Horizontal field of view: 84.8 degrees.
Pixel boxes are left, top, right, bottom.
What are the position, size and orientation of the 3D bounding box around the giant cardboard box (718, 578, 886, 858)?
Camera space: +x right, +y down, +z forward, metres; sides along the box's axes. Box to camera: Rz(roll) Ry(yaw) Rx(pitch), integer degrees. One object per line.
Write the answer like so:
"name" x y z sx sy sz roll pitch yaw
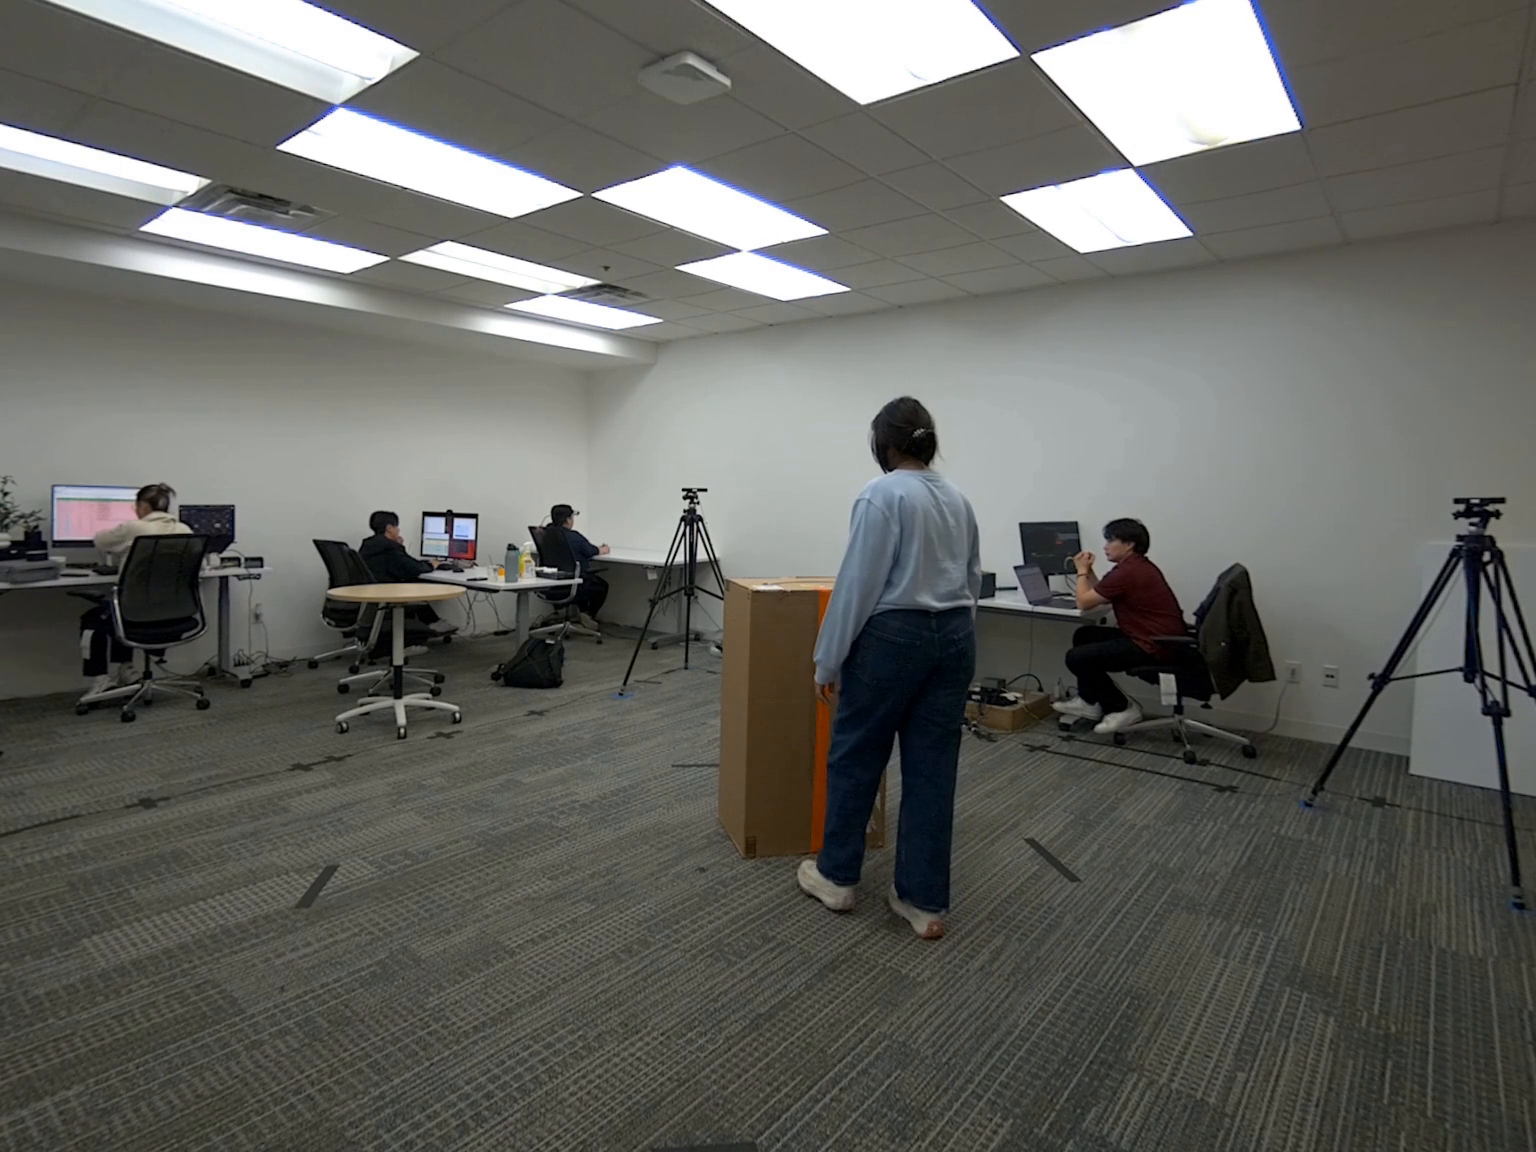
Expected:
"giant cardboard box" 0.125 0.533 3.450 0.575 1.024 0.455 1 3 -15
